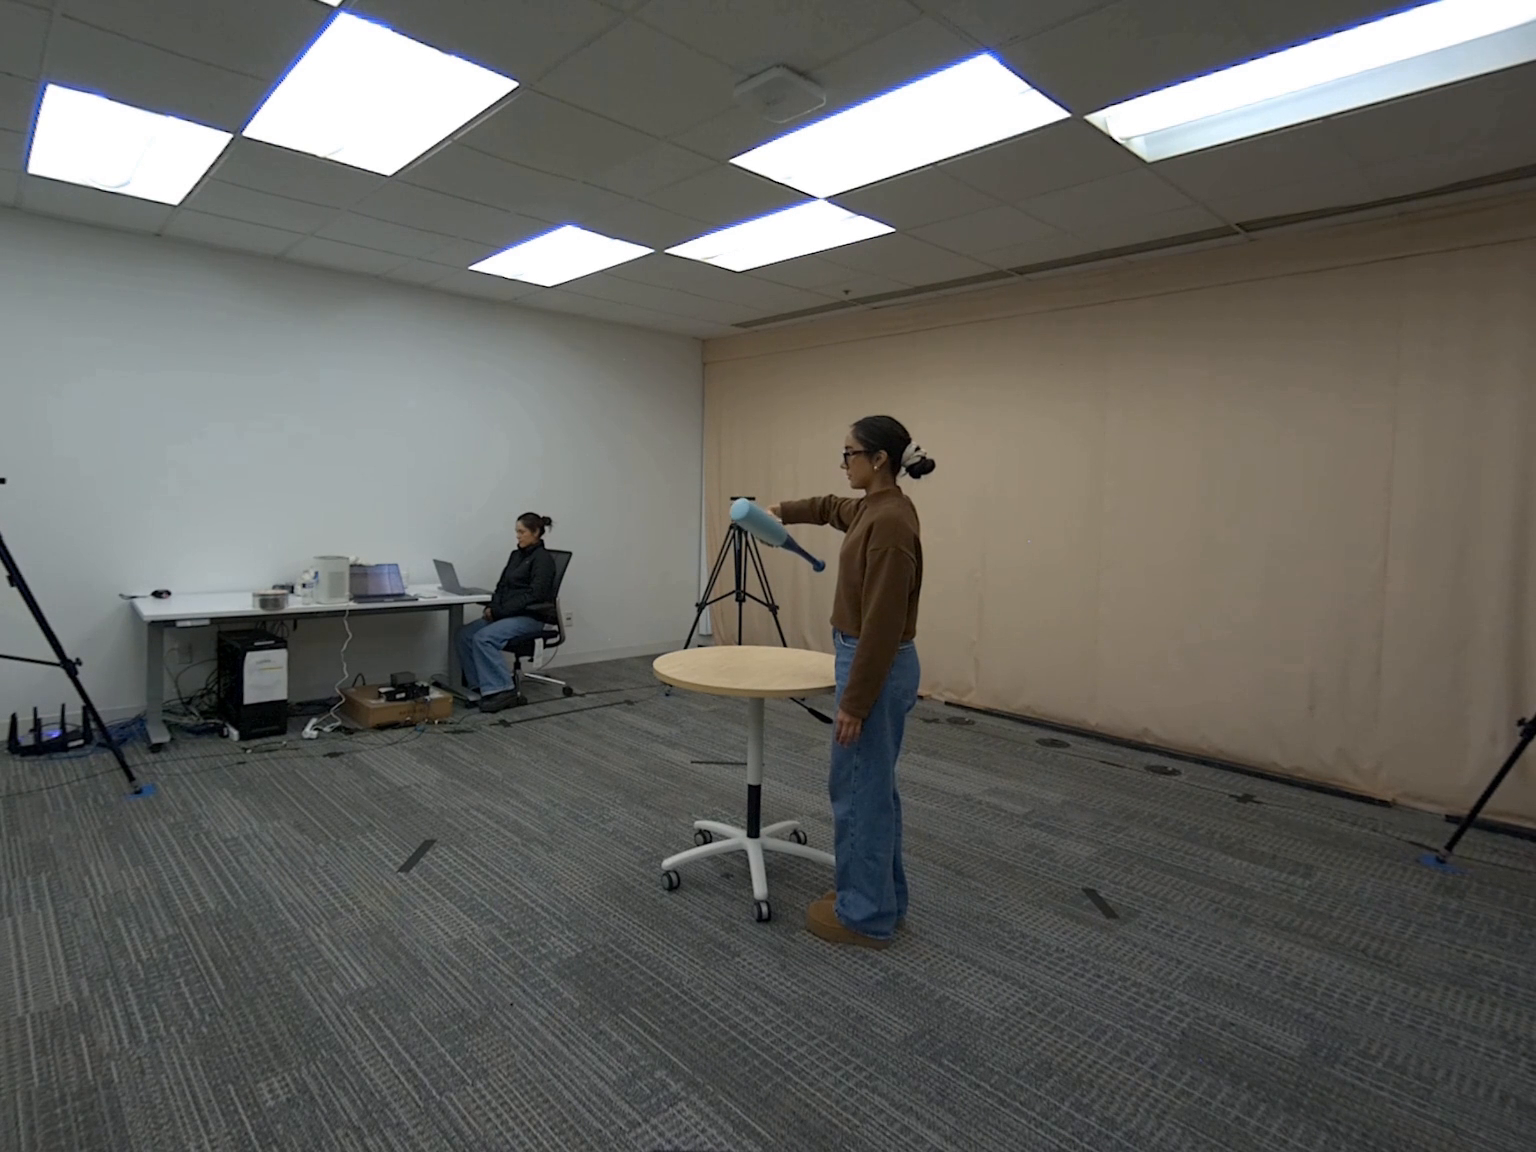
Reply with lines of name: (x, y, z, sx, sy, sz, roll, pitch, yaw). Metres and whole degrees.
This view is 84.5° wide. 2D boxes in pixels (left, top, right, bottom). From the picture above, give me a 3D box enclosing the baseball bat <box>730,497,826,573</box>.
baseball bat: (0.043, -0.127, 2.976, 0.091, 0.090, 0.526, 5, -18, 38)
